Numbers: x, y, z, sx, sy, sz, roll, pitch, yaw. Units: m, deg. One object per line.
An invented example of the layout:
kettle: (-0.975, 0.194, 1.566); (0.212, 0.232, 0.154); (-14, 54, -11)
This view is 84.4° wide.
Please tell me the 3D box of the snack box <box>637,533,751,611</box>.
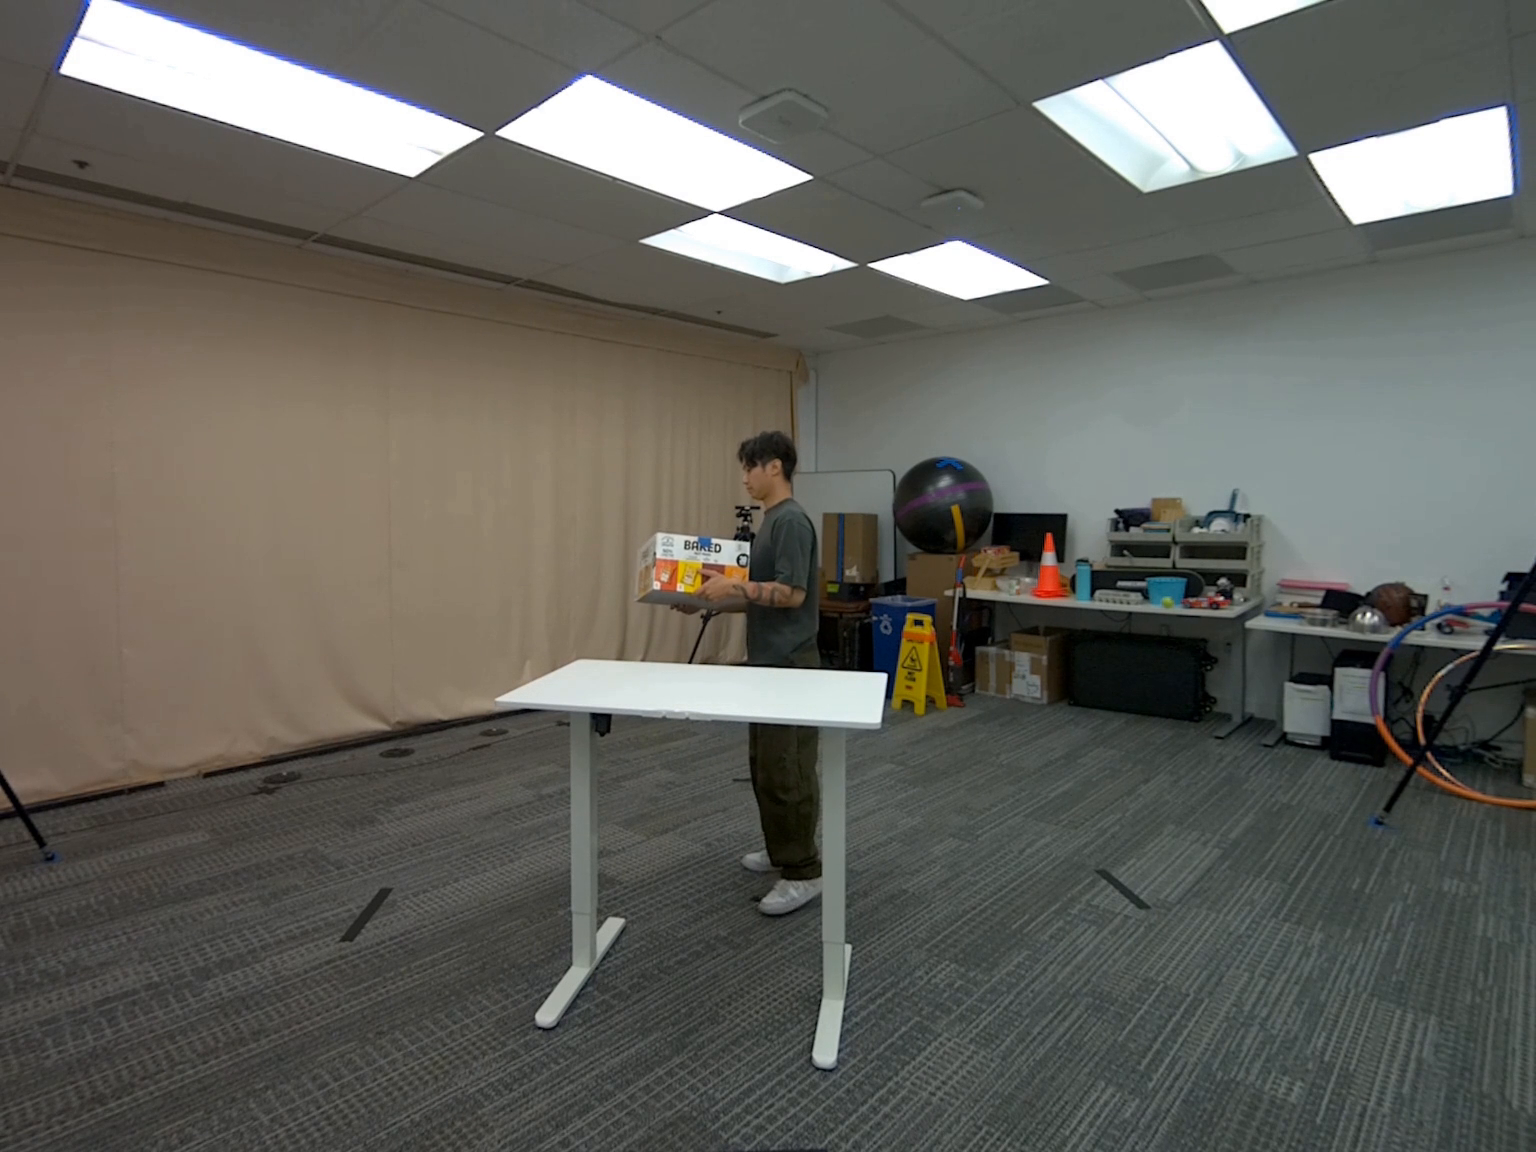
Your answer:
snack box: (-0.289, -0.006, 3.135); (0.335, 0.207, 0.409); (6, -10, -14)
